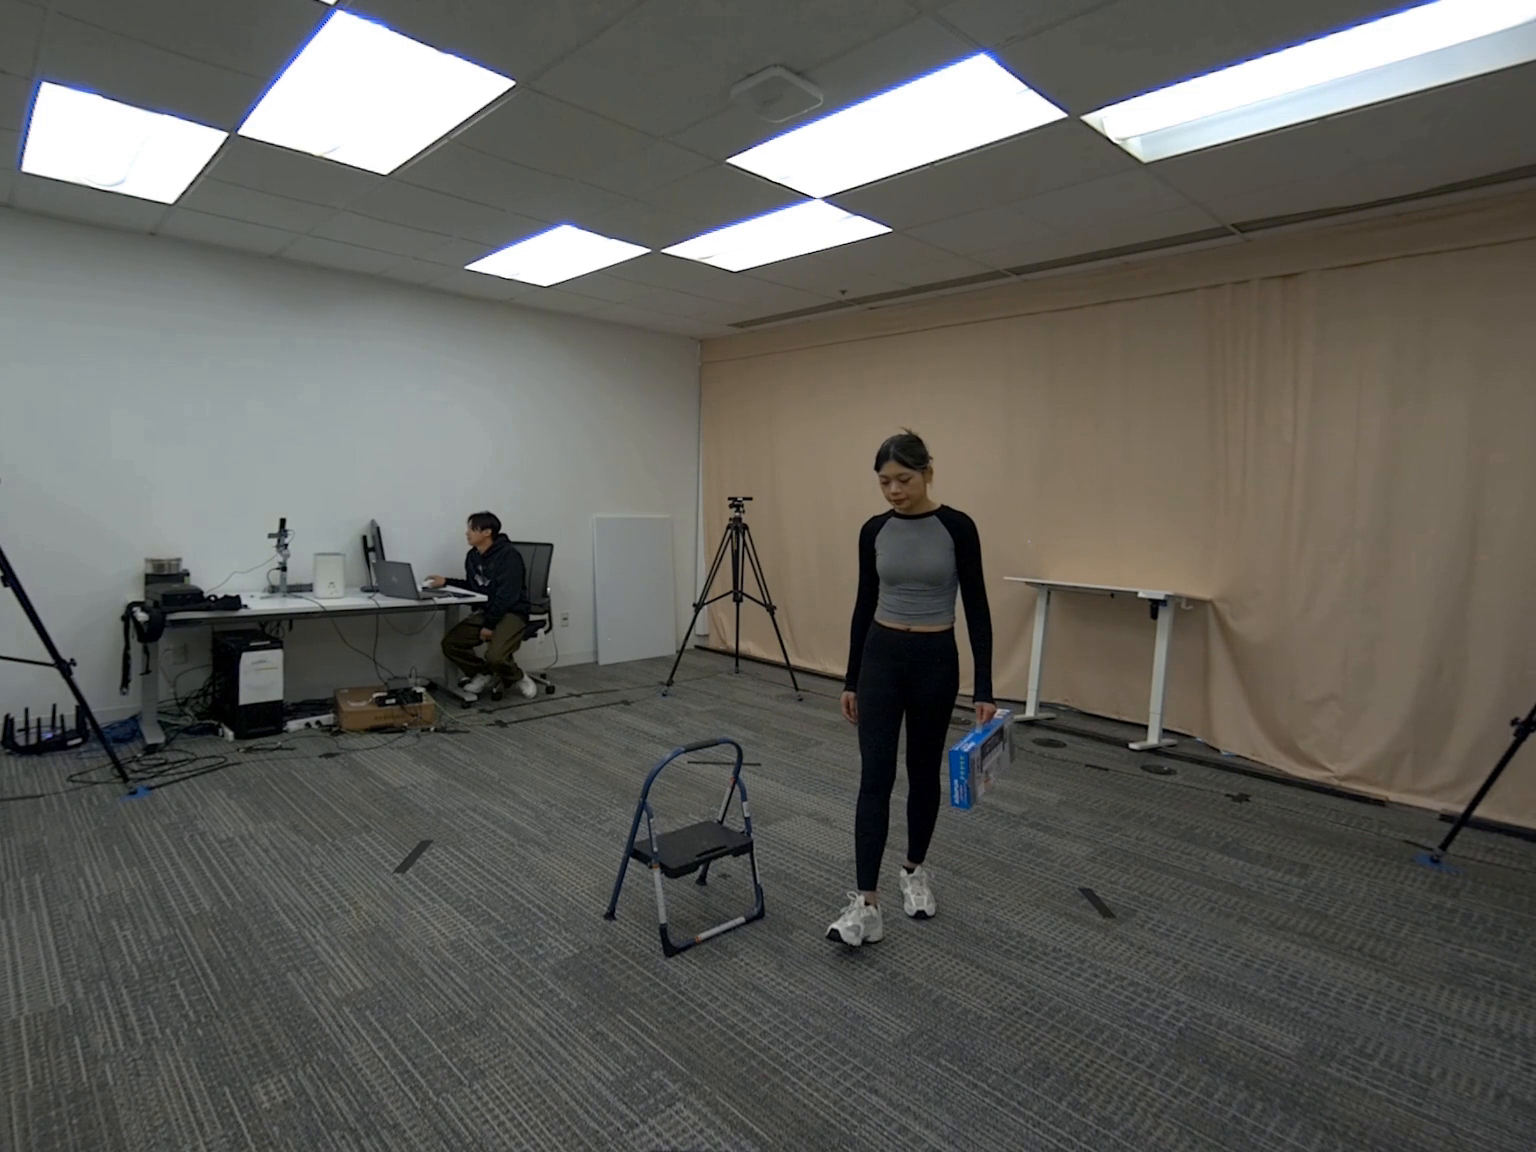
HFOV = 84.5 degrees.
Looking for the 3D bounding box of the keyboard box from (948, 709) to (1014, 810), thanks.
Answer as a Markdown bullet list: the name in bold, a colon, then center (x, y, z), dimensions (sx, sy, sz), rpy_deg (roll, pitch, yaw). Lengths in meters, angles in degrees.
- **keyboard box**: center (0.653, 0.554, 2.611), dimensions (0.060, 0.175, 0.430), rpy_deg (0, 9, 32)
